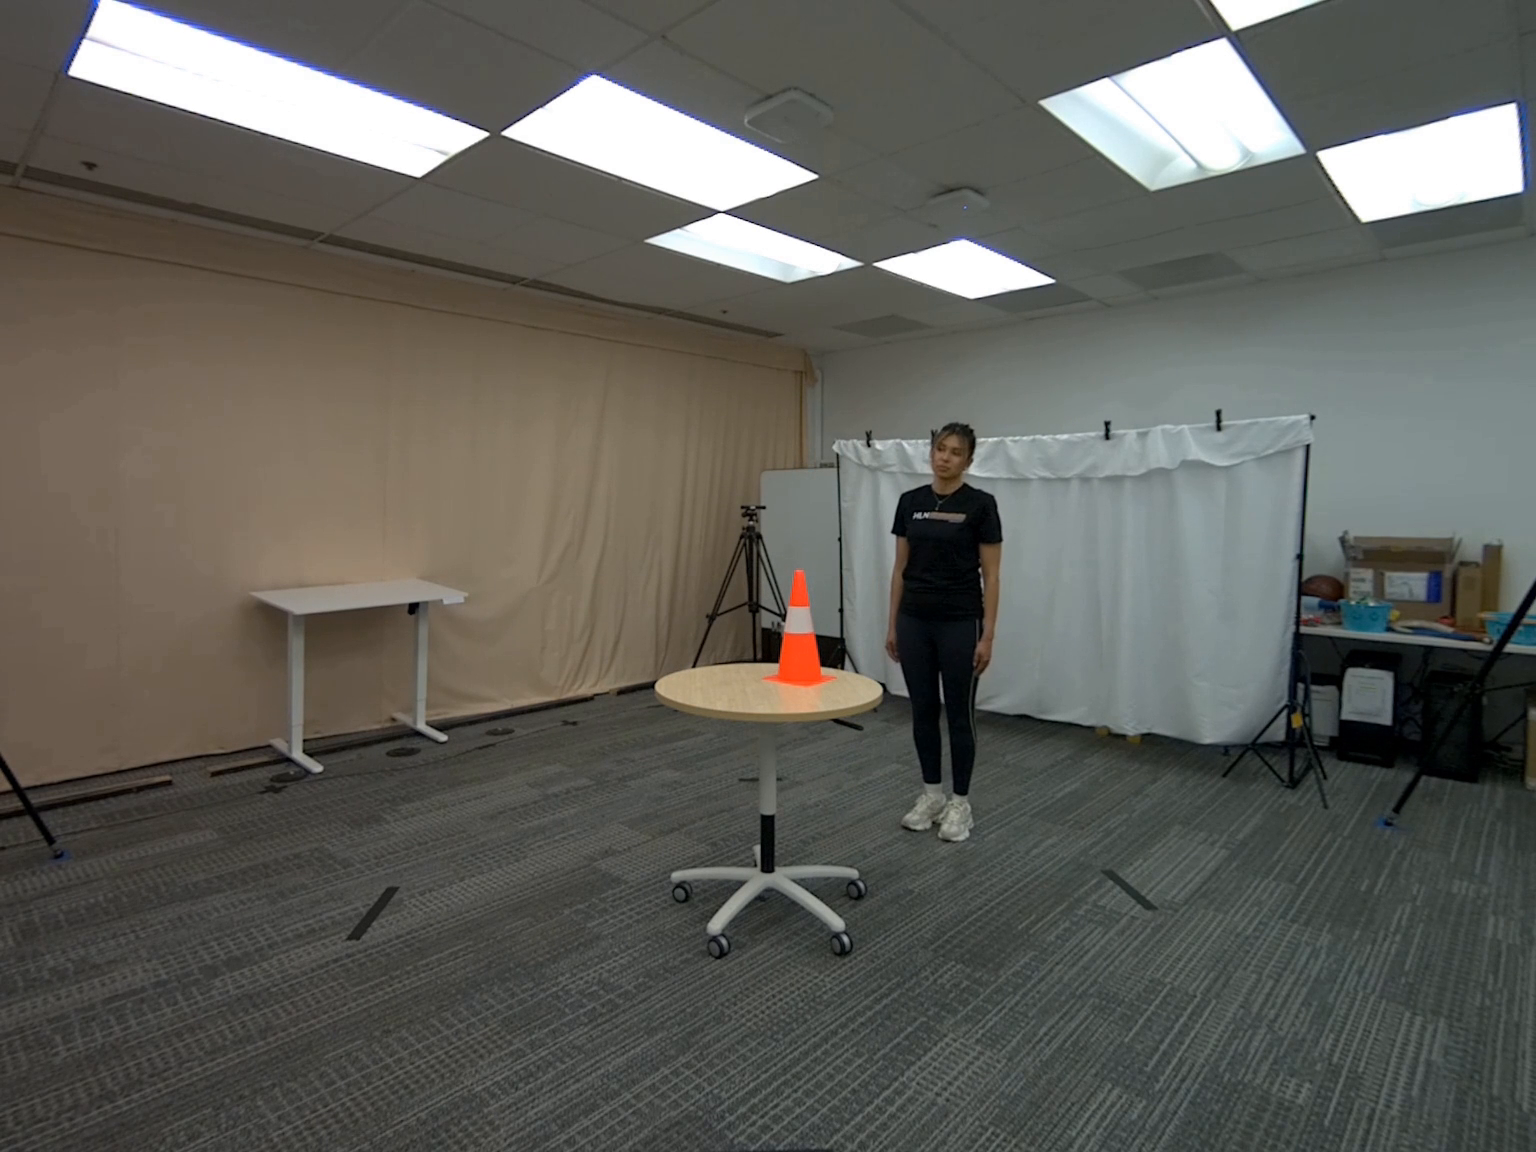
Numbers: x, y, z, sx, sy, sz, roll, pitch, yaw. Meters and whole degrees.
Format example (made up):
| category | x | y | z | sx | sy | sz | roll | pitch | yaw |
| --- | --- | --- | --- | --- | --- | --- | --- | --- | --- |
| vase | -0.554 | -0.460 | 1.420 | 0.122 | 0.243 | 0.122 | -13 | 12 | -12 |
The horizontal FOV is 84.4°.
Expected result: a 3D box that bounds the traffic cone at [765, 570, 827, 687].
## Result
| category | x | y | z | sx | sy | sz | roll | pitch | yaw |
| --- | --- | --- | --- | --- | --- | --- | --- | --- | --- |
| traffic cone | 0.124 | 0.176 | 2.956 | 0.209 | 0.383 | 0.199 | 4 | 3 | 32 |
